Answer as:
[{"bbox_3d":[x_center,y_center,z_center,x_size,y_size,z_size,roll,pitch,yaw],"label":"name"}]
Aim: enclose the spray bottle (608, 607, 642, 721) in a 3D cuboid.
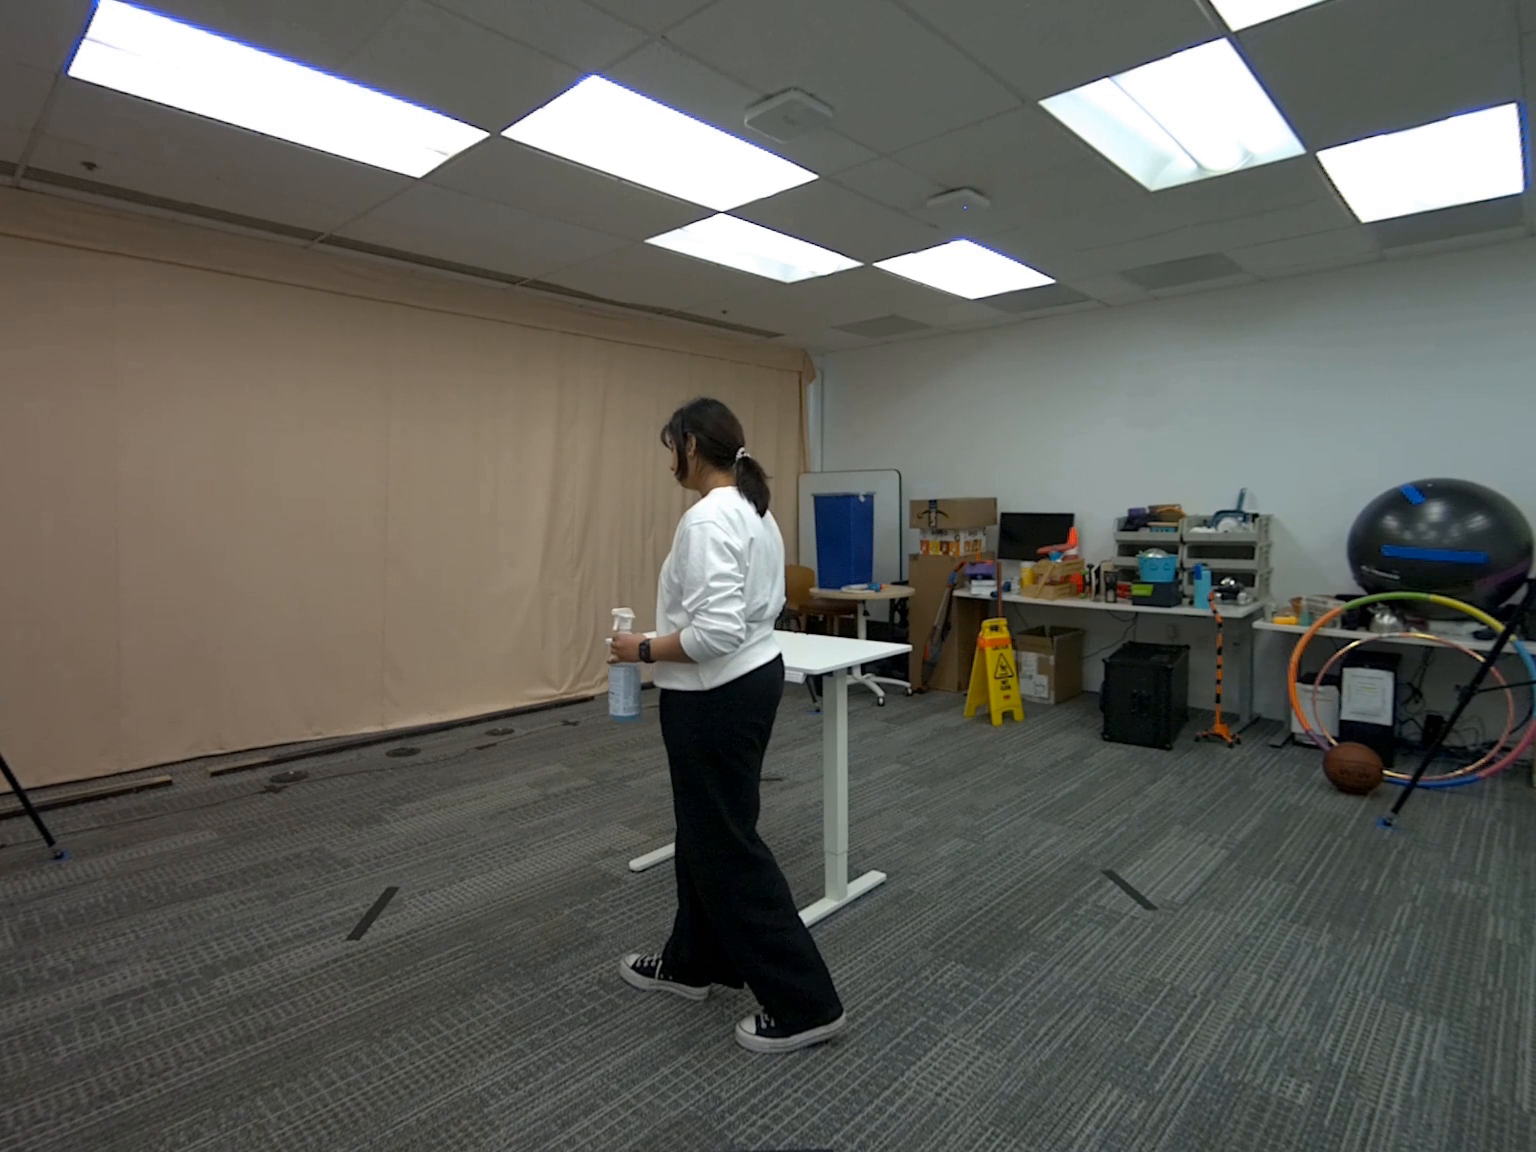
[{"bbox_3d":[-0.374,0.236,2.246,0.087,0.297,0.090,-2,3,-37],"label":"spray bottle"}]
